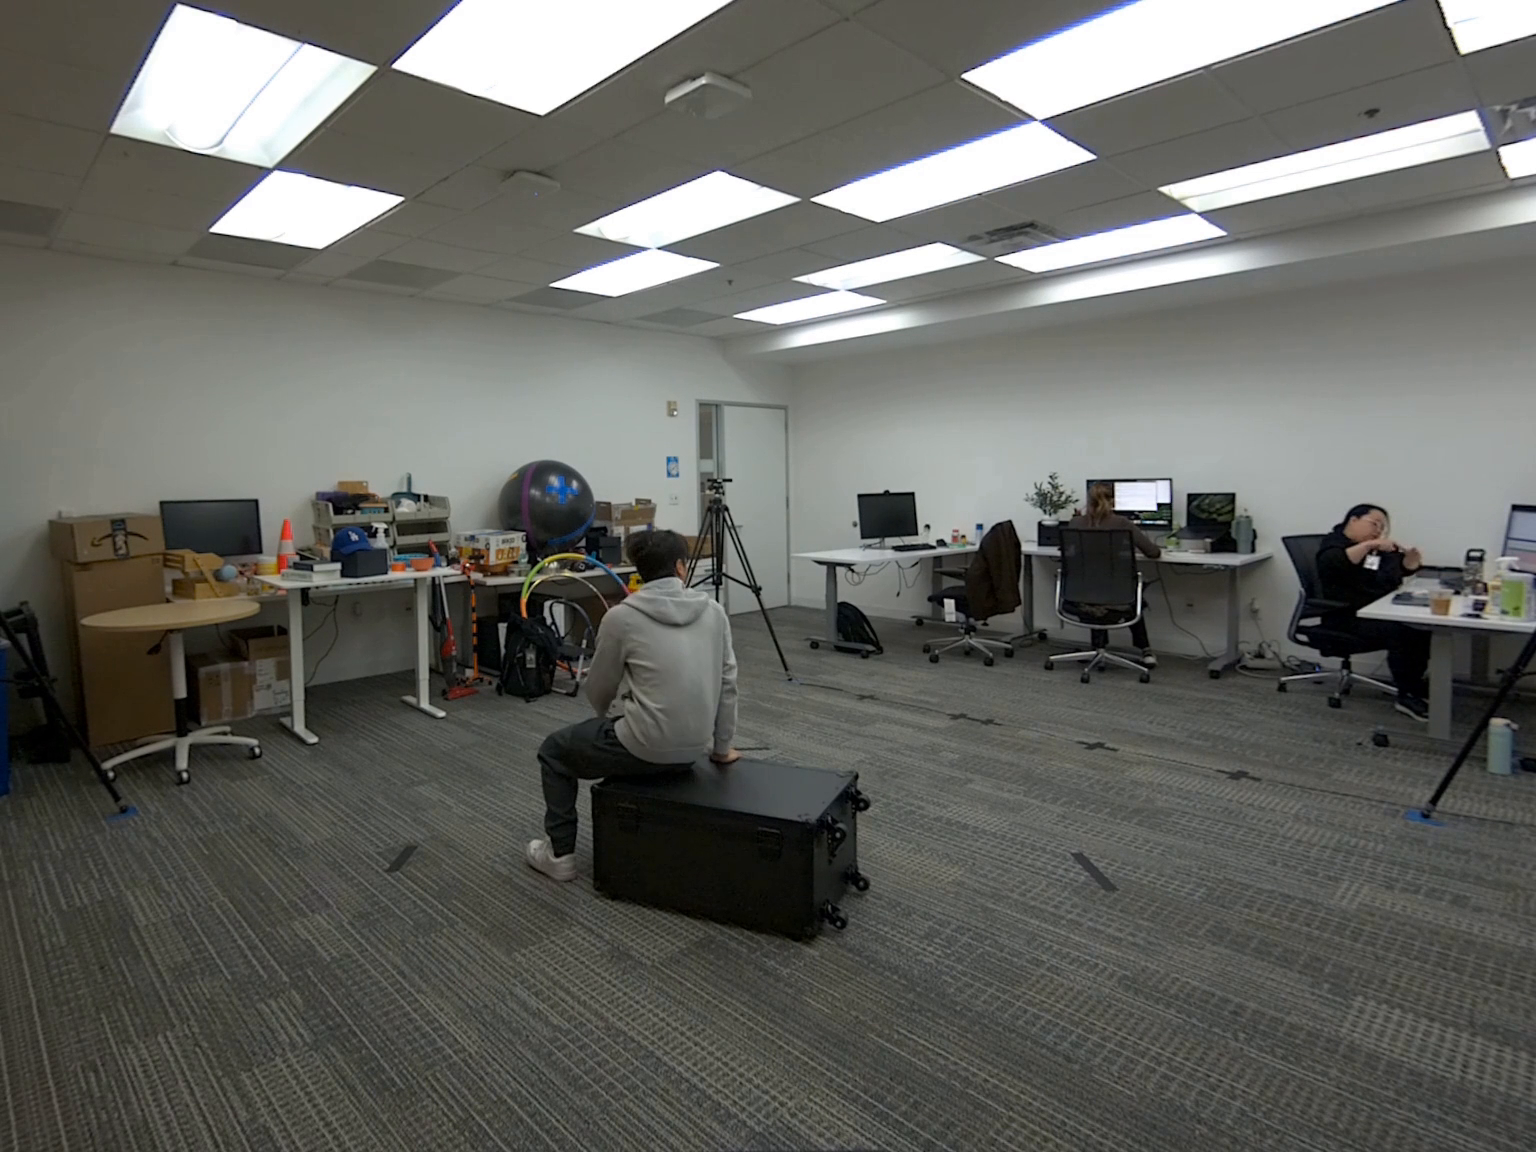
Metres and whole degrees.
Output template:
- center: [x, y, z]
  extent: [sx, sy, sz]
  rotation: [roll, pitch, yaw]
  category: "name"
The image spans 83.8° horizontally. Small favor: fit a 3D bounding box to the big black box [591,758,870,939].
- center: [-0.163, 0.876, 2.929]
  extent: [0.881, 0.395, 0.511]
  rotation: [3, 5, 24]
  category: "big black box"
